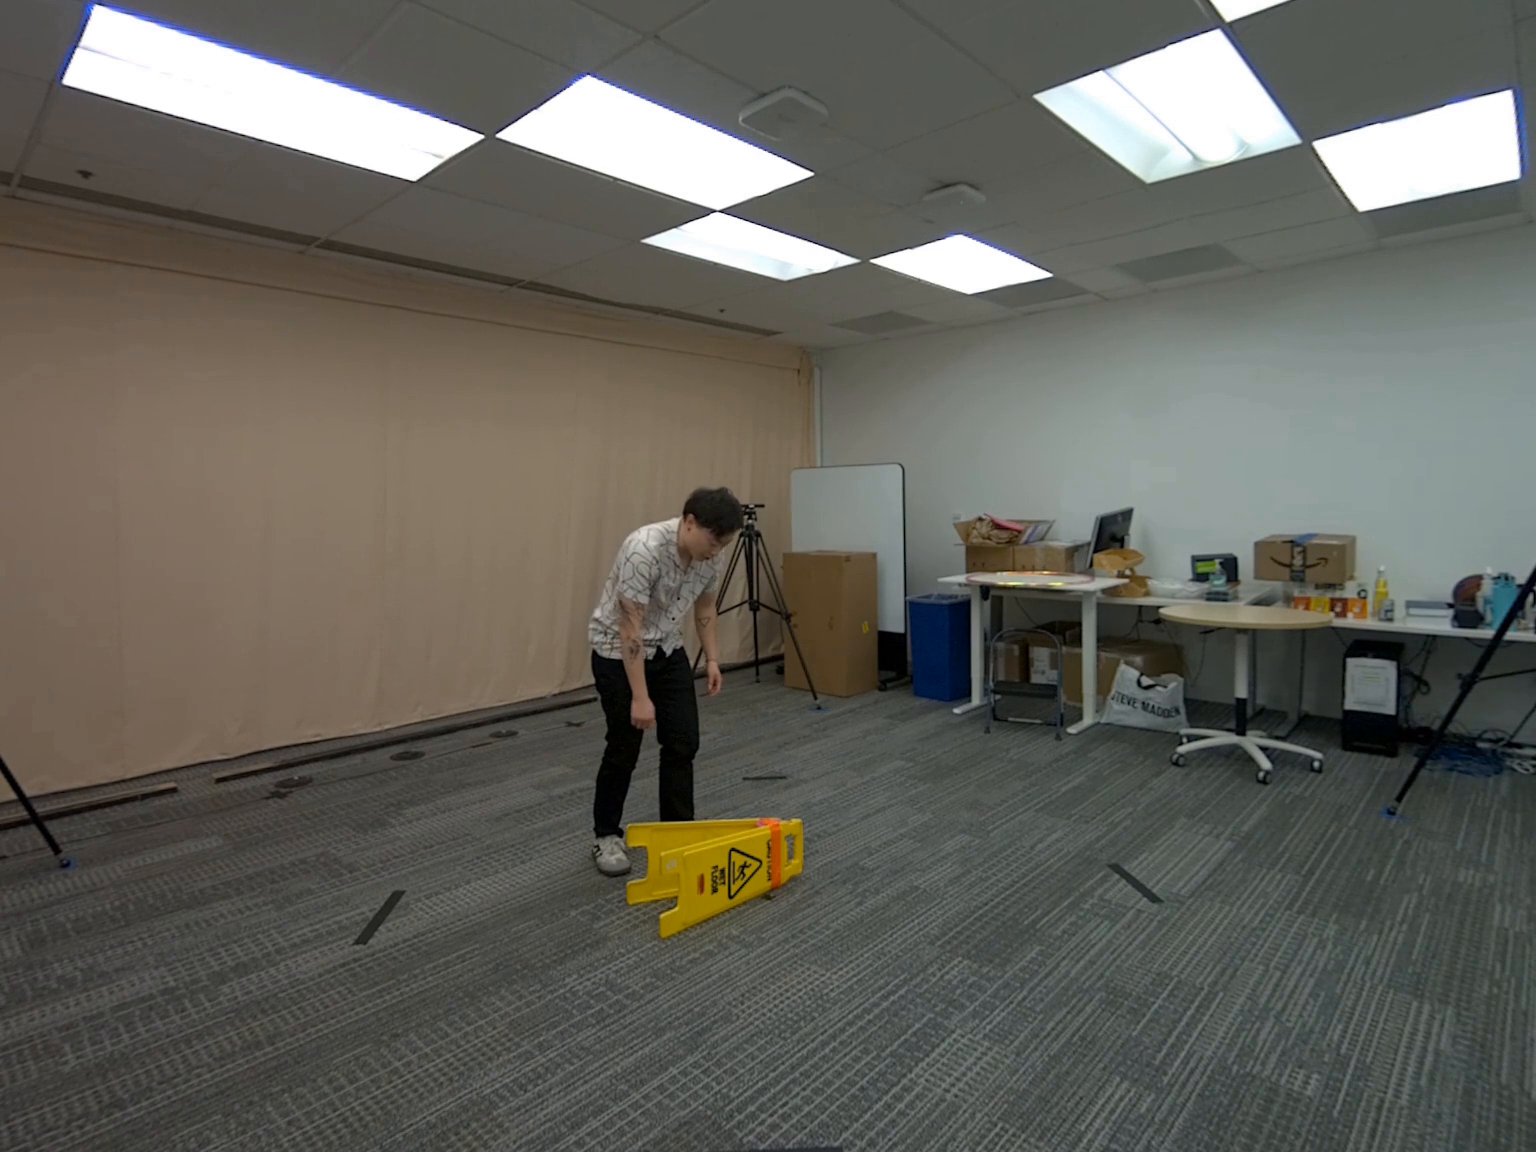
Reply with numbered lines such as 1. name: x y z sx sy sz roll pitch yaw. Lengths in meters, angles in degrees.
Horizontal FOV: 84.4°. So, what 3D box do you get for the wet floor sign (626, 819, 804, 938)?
1. wet floor sign: -0.143 1.012 2.984 0.629 0.281 0.298 -2 5 -30
